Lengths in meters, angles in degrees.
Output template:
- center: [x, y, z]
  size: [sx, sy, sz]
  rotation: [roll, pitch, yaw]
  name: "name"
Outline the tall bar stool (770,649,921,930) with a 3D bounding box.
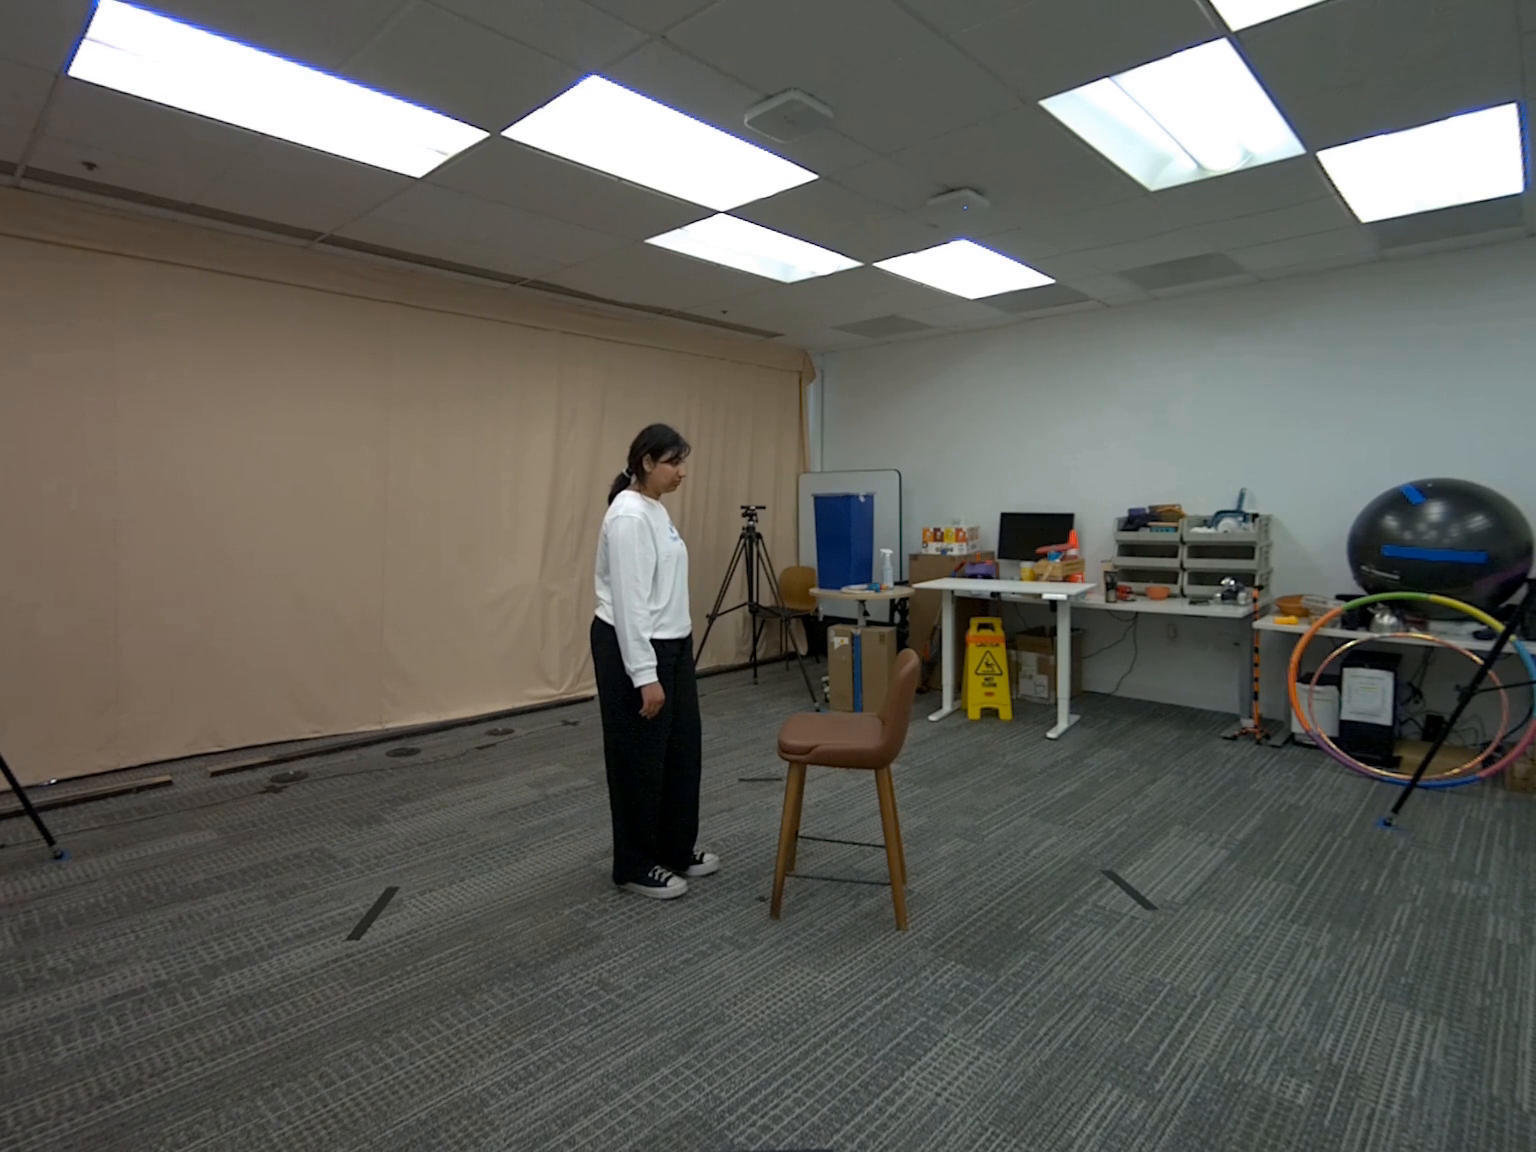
- center: [0.275, 0.712, 2.956]
  size: [0.474, 0.888, 0.451]
  rotation: [2, 4, 12]
  name: "tall bar stool"
